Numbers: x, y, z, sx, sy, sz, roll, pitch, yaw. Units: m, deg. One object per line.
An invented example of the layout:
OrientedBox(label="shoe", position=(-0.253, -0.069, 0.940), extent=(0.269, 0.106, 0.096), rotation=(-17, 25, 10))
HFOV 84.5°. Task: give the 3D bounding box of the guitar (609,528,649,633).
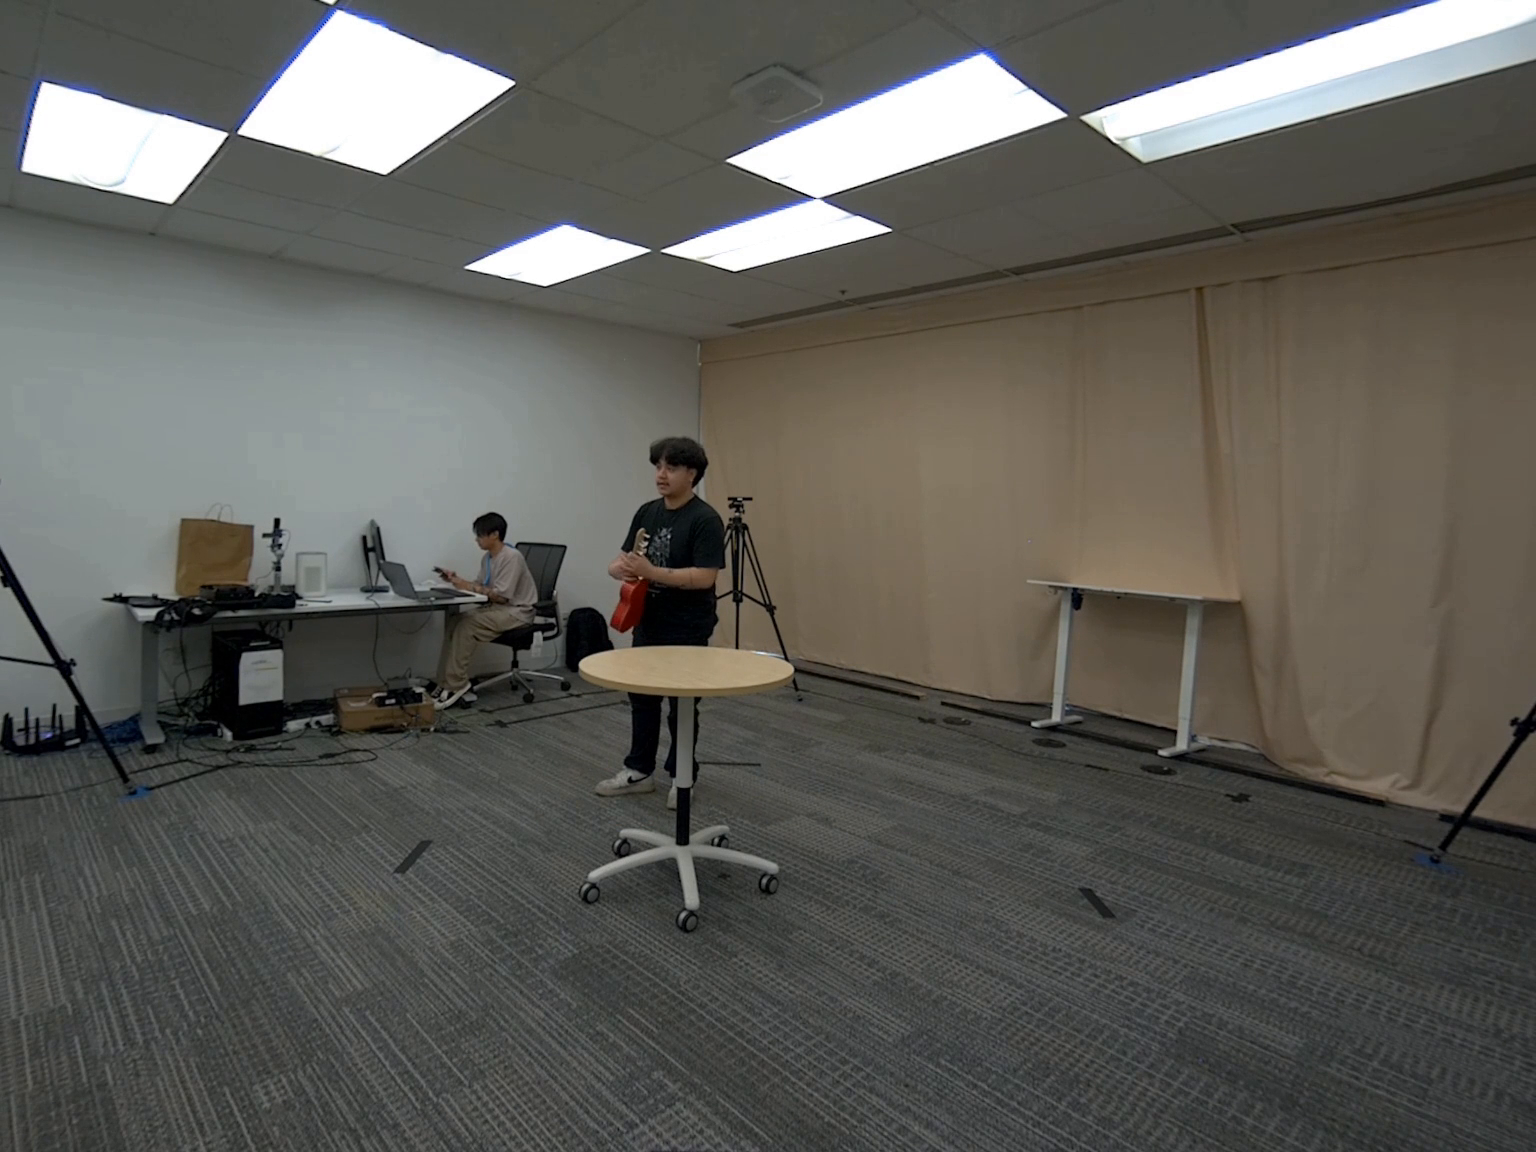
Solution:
OrientedBox(label="guitar", position=(-0.610, 0.032, 3.643), extent=(0.072, 0.490, 0.193), rotation=(25, 38, 15))
